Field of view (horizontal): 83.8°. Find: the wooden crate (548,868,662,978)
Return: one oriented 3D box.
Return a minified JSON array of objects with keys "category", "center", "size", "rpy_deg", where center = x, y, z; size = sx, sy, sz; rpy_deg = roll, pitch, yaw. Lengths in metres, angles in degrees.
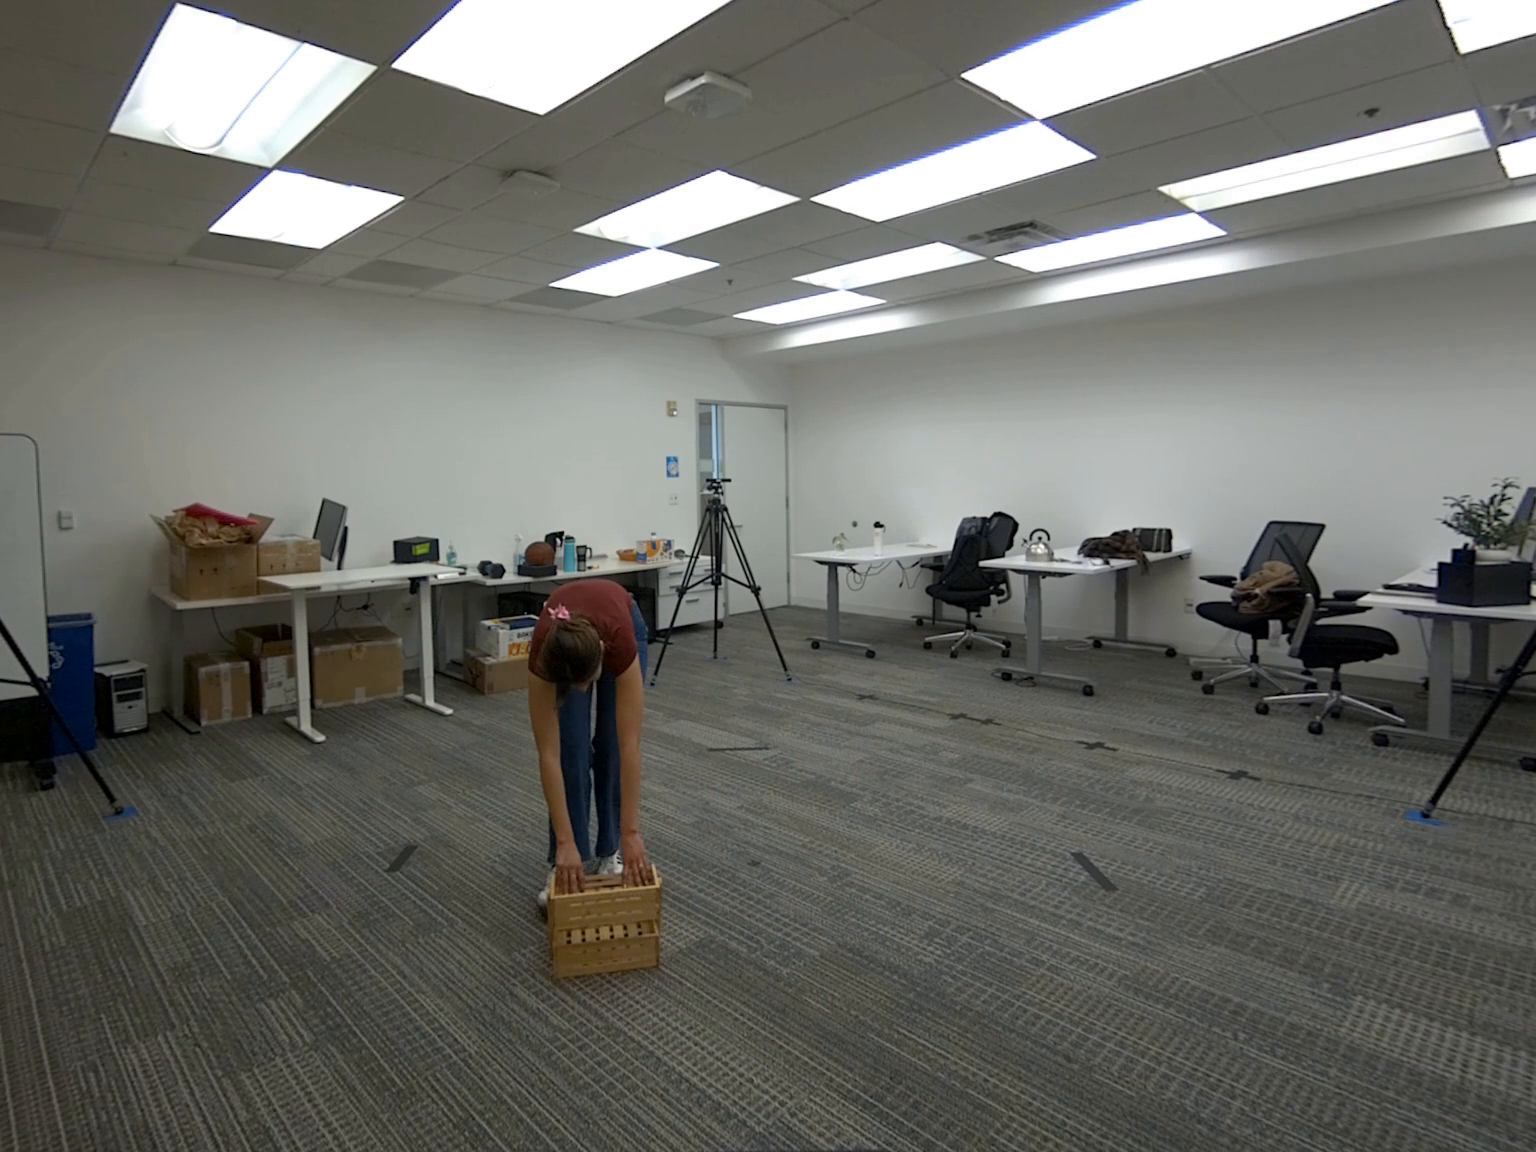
[{"category":"wooden crate","center":[-0.475,0.987,2.530],"size":[0.321,0.272,0.306],"rpy_deg":[-2,5,-12]}]
